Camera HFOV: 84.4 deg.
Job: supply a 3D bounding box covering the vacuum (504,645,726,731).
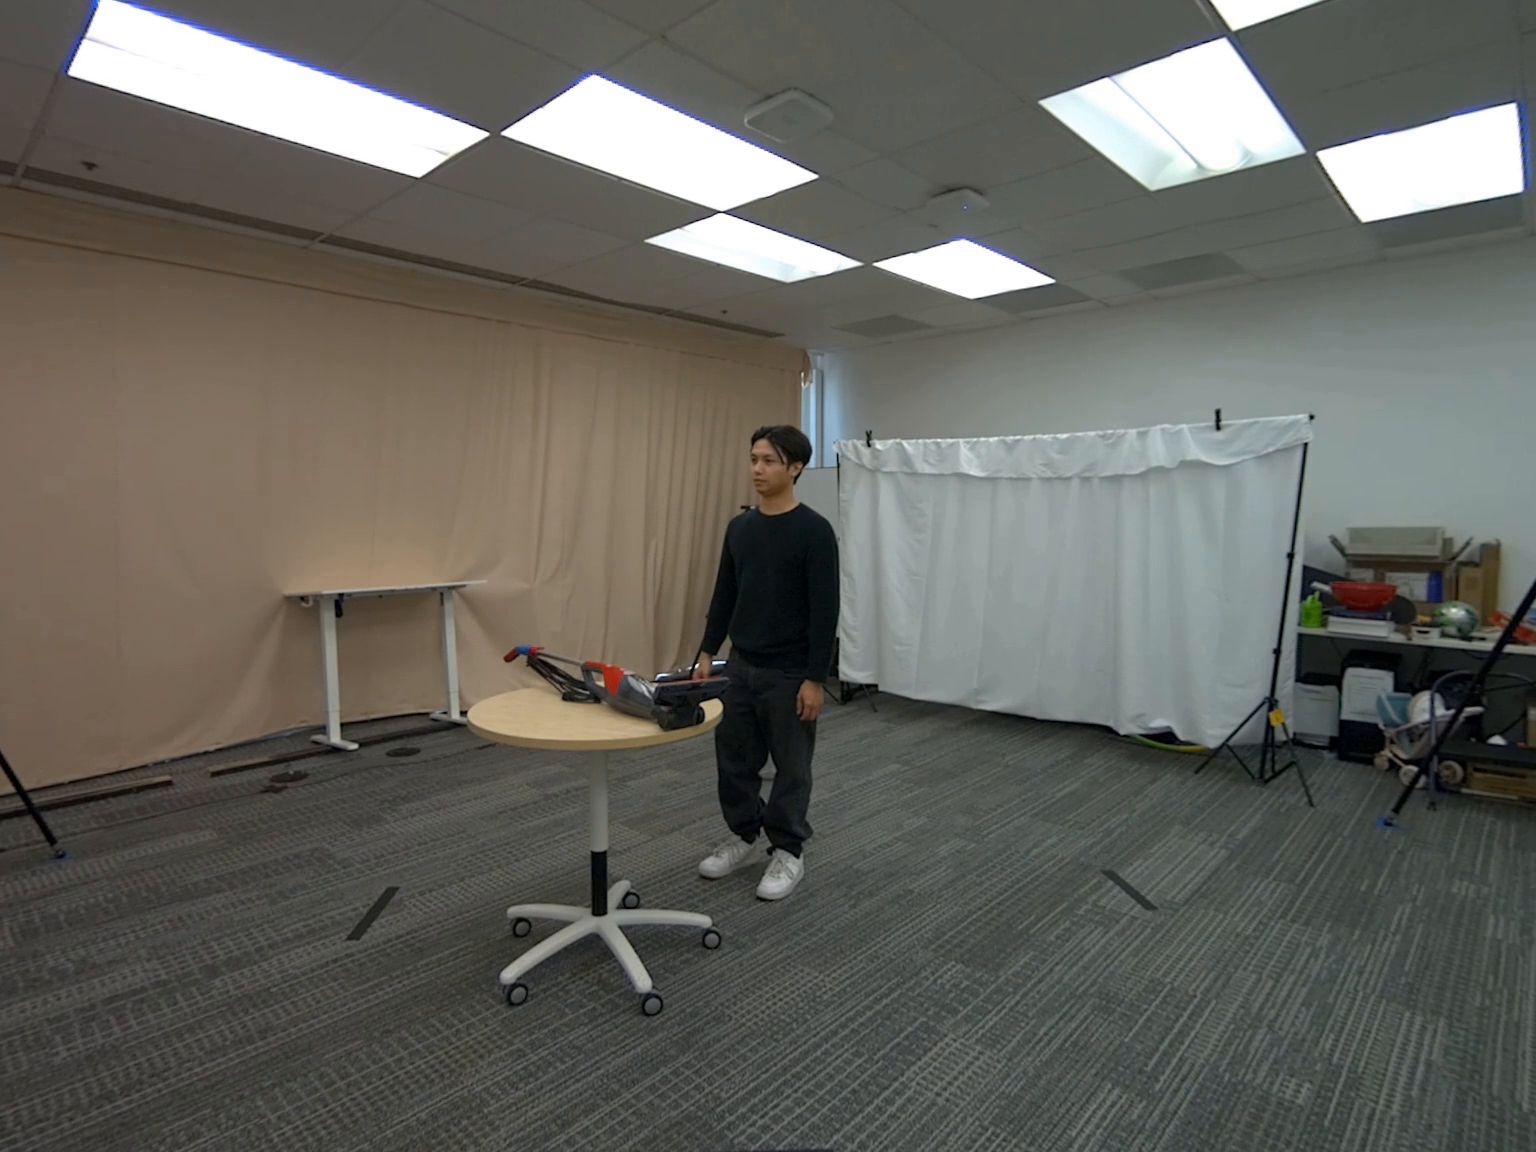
[{"bbox_3d":[-0.593,0.337,2.683,0.244,0.144,1.084,3,1,-41],"label":"vacuum"}]
